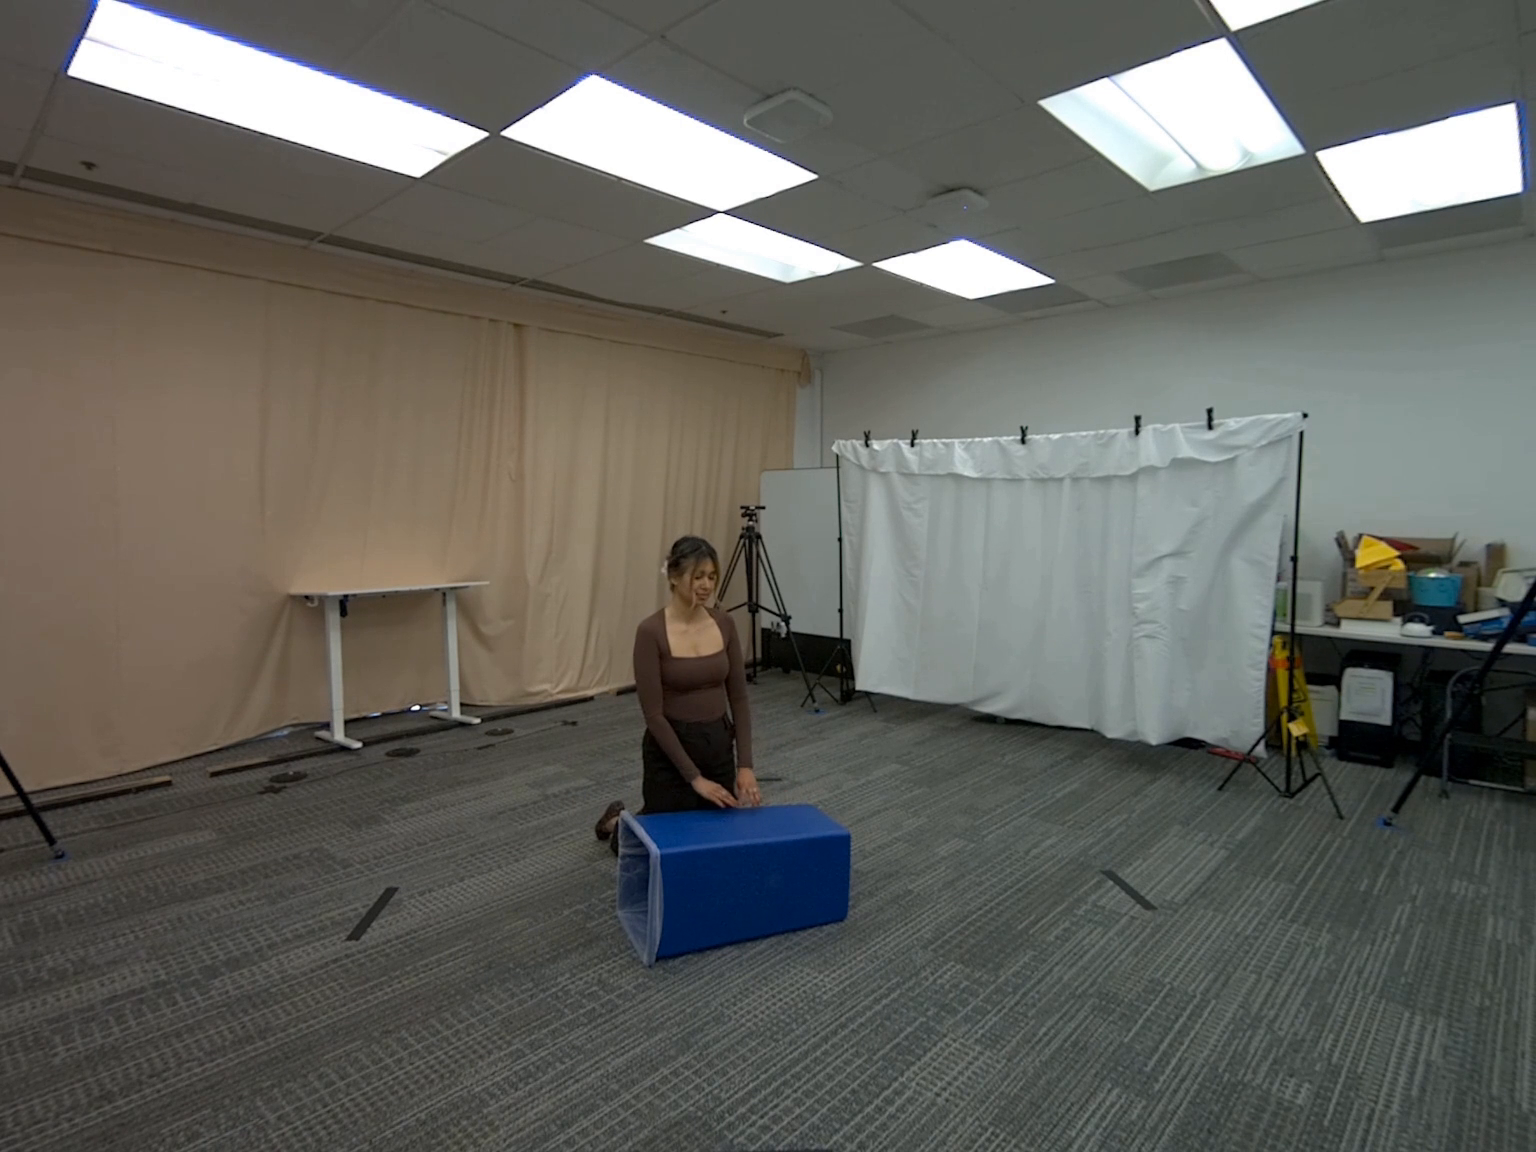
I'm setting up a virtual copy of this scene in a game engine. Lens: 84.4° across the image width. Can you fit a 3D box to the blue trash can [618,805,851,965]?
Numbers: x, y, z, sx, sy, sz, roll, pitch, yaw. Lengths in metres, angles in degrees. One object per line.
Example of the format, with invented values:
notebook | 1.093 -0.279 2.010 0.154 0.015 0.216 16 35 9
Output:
blue trash can | -0.107 0.984 2.816 0.698 0.377 0.383 0 2 -22
